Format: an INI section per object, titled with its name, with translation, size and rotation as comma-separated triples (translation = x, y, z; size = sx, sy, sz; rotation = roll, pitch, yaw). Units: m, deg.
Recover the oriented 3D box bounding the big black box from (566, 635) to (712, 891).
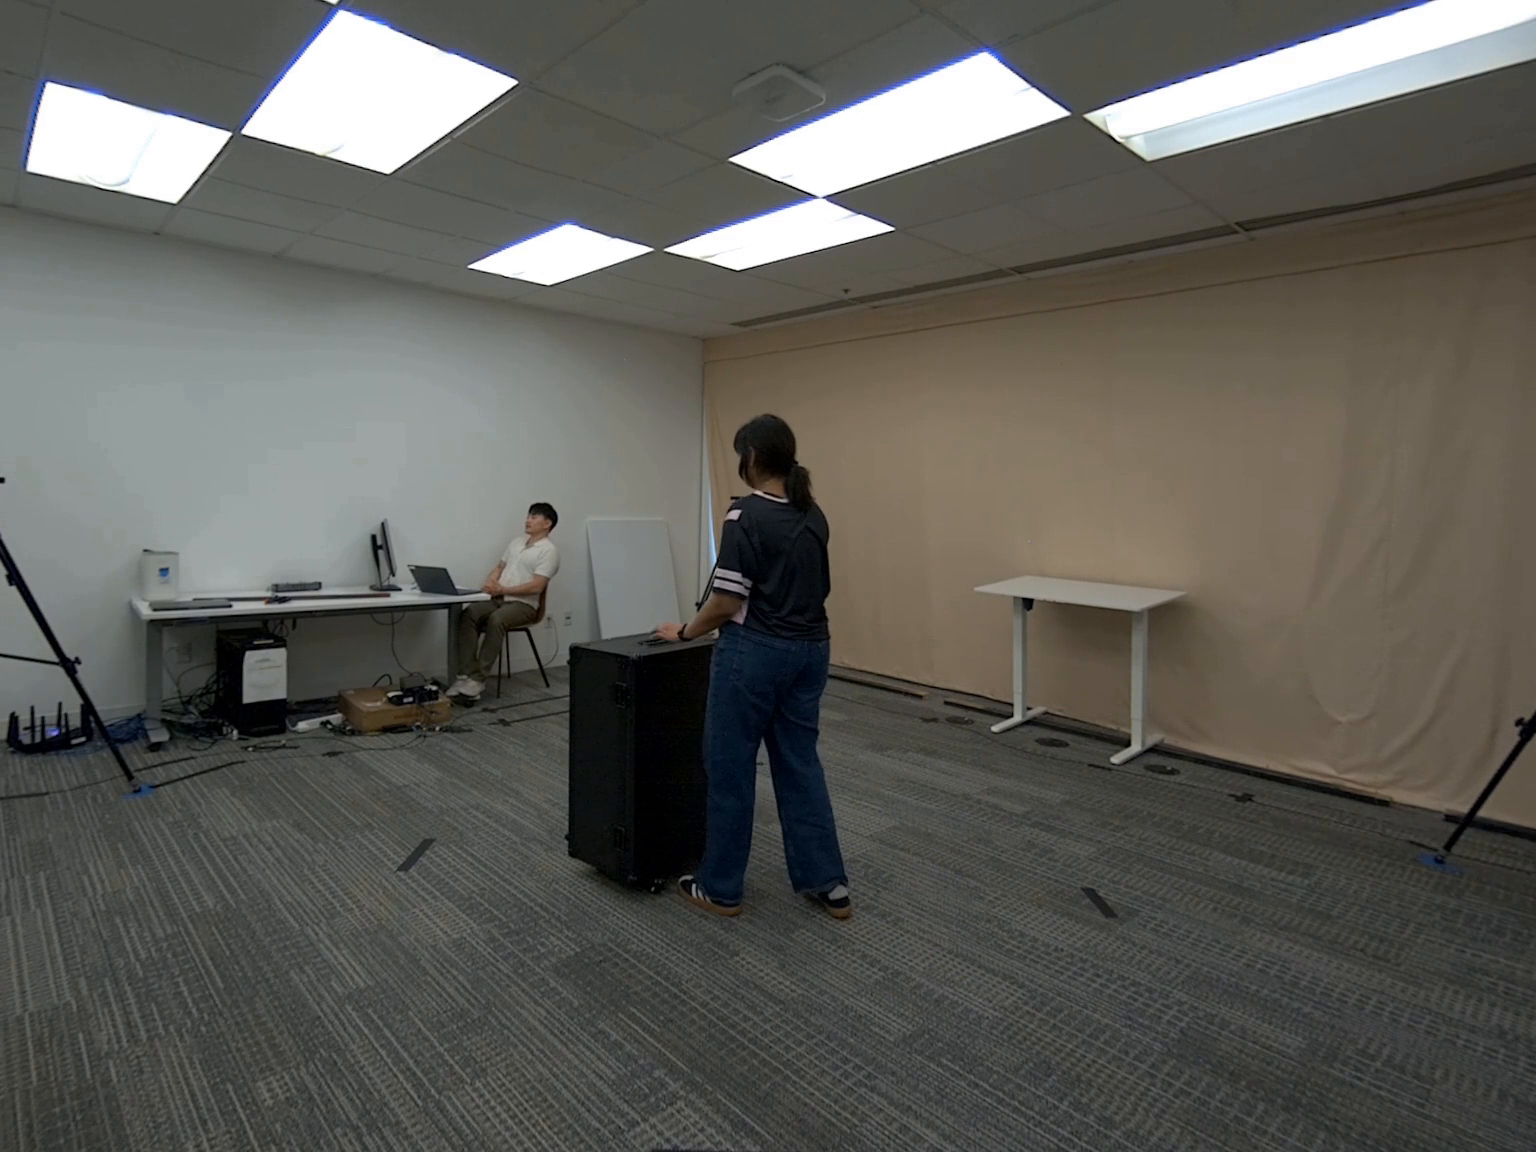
[big black box]
translation = -0.454, 0.674, 3.128
size = 0.395, 0.867, 0.511
rotation = 4, 4, 40
